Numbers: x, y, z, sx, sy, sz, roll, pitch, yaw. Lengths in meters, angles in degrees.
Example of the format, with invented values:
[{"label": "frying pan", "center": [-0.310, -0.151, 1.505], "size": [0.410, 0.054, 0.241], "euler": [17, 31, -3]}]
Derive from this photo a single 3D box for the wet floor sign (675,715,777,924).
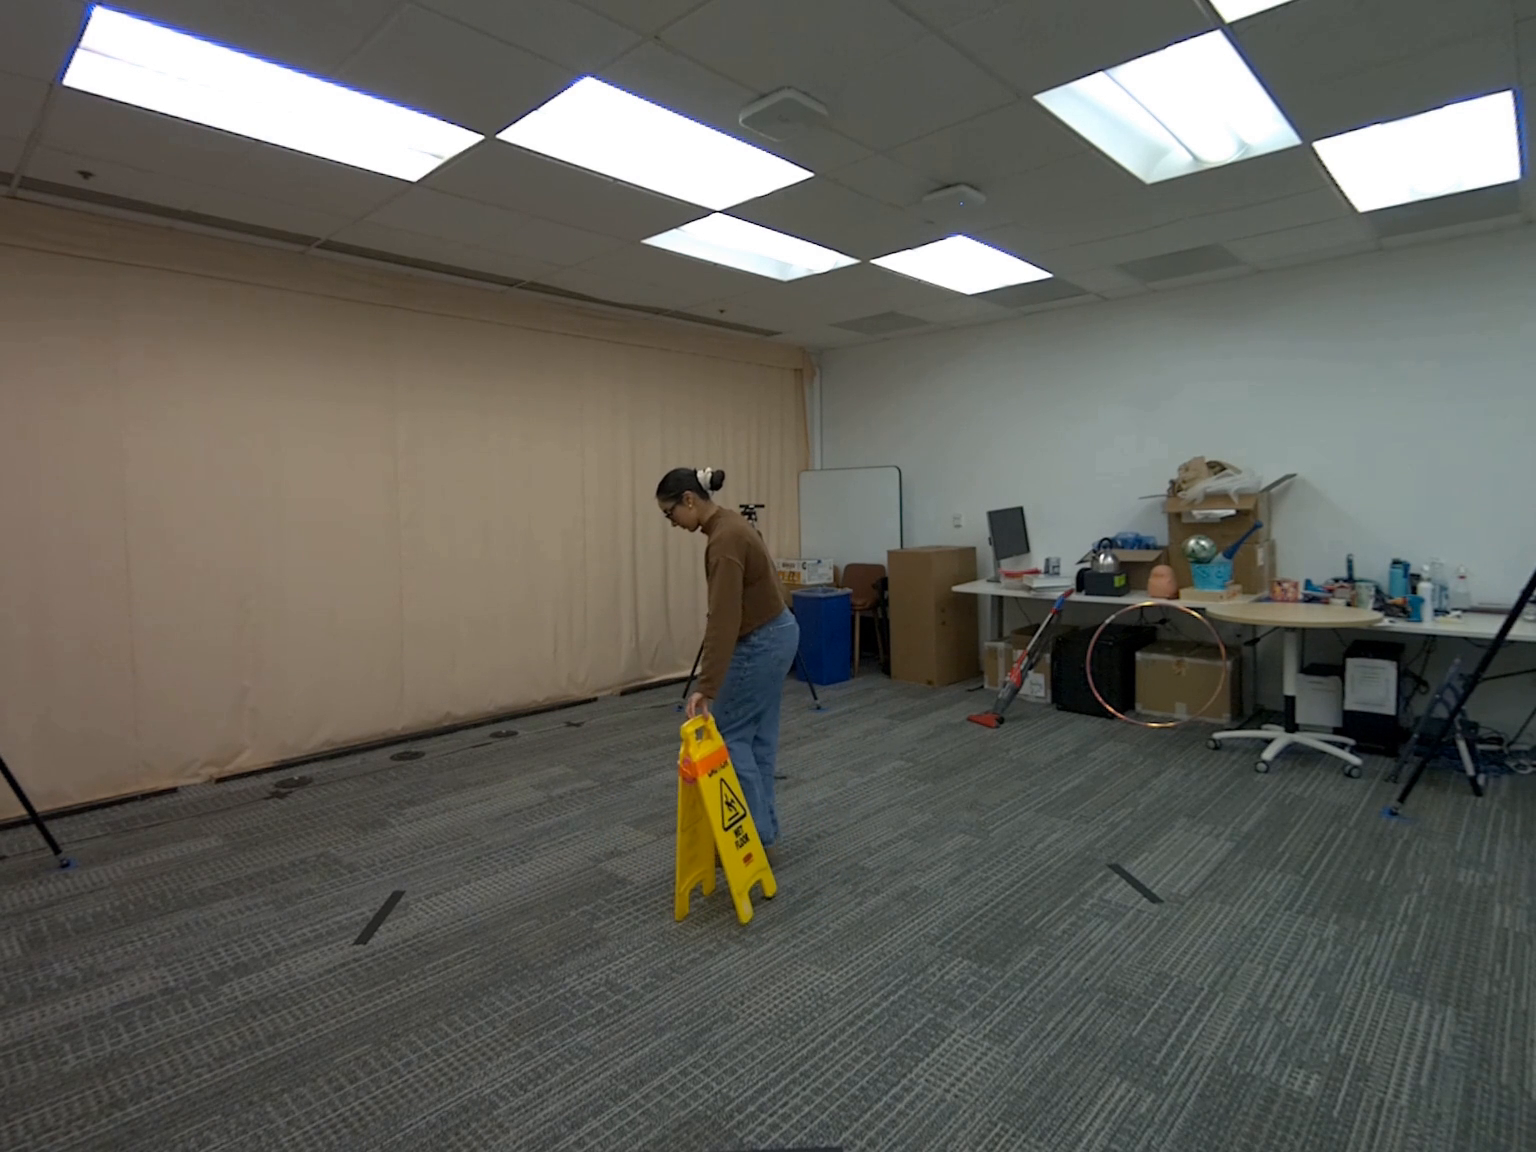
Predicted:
[{"label": "wet floor sign", "center": [-0.198, 0.811, 2.894], "size": [0.296, 0.647, 0.276], "euler": [-11, -2, 25]}]
